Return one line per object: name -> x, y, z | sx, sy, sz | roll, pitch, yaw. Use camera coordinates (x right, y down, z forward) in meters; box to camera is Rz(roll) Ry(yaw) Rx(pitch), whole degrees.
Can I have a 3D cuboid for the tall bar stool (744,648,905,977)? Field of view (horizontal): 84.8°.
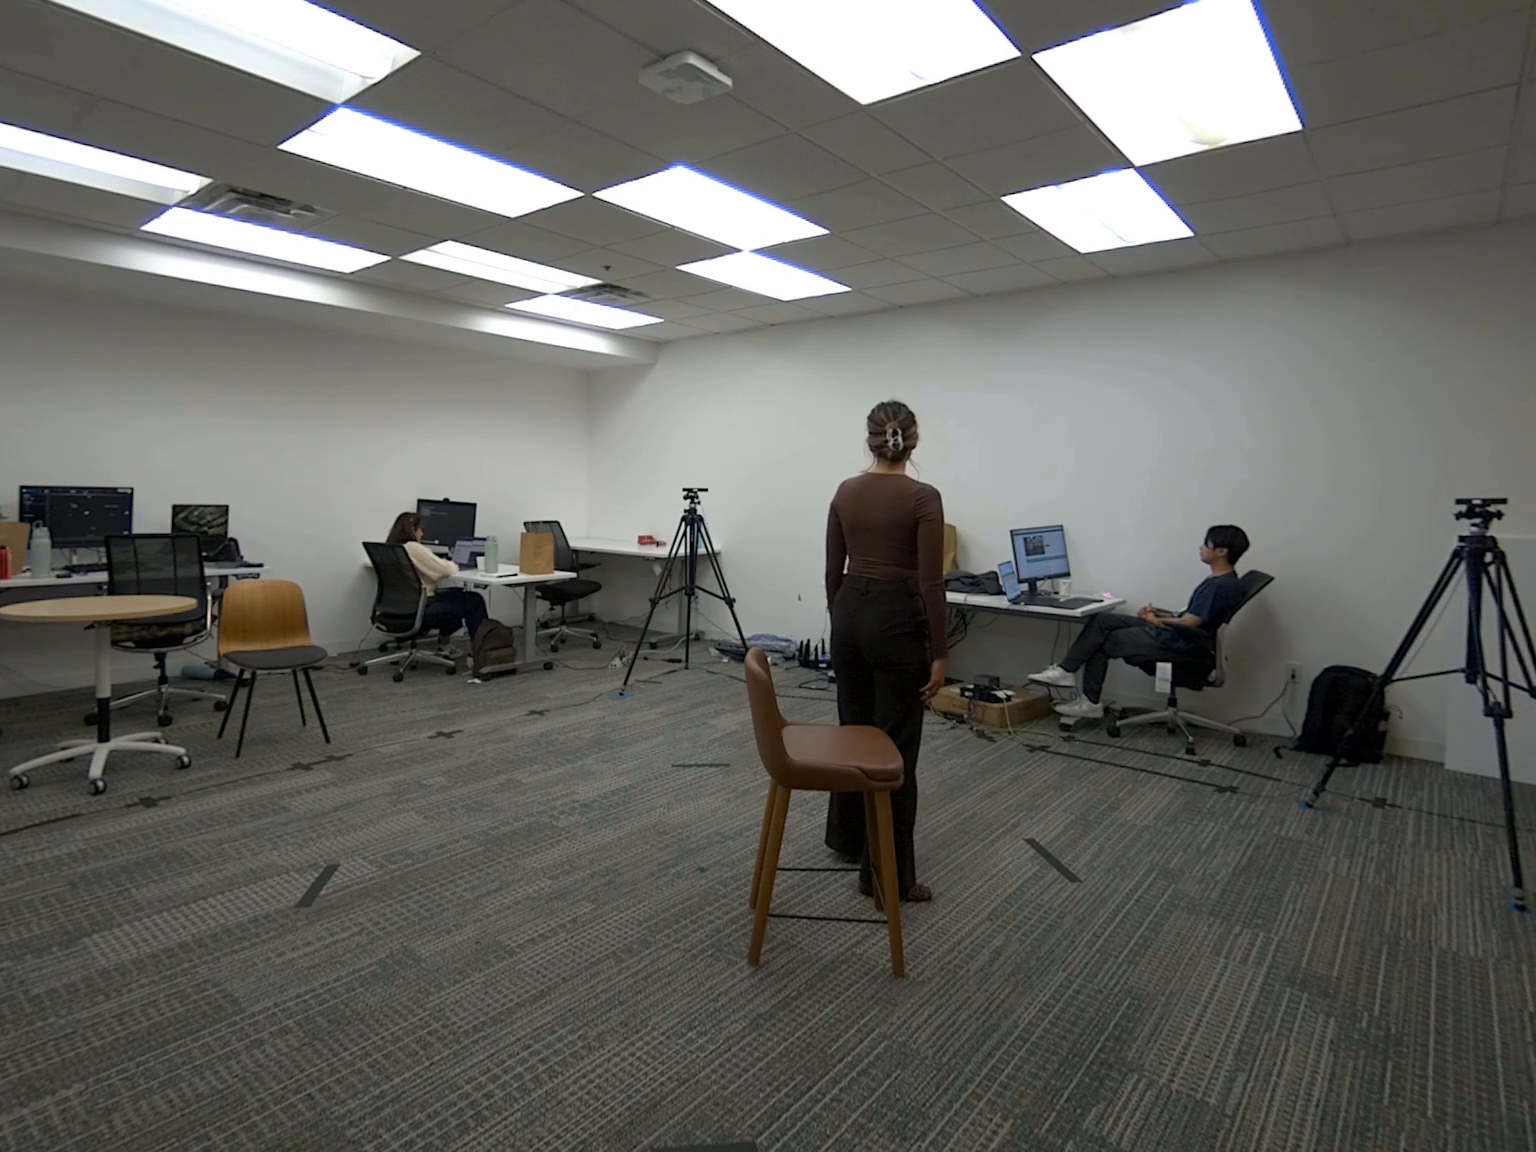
tall bar stool -> 0.165, 0.690, 2.632 | 0.469, 0.887, 0.457 | 1, 3, 1
